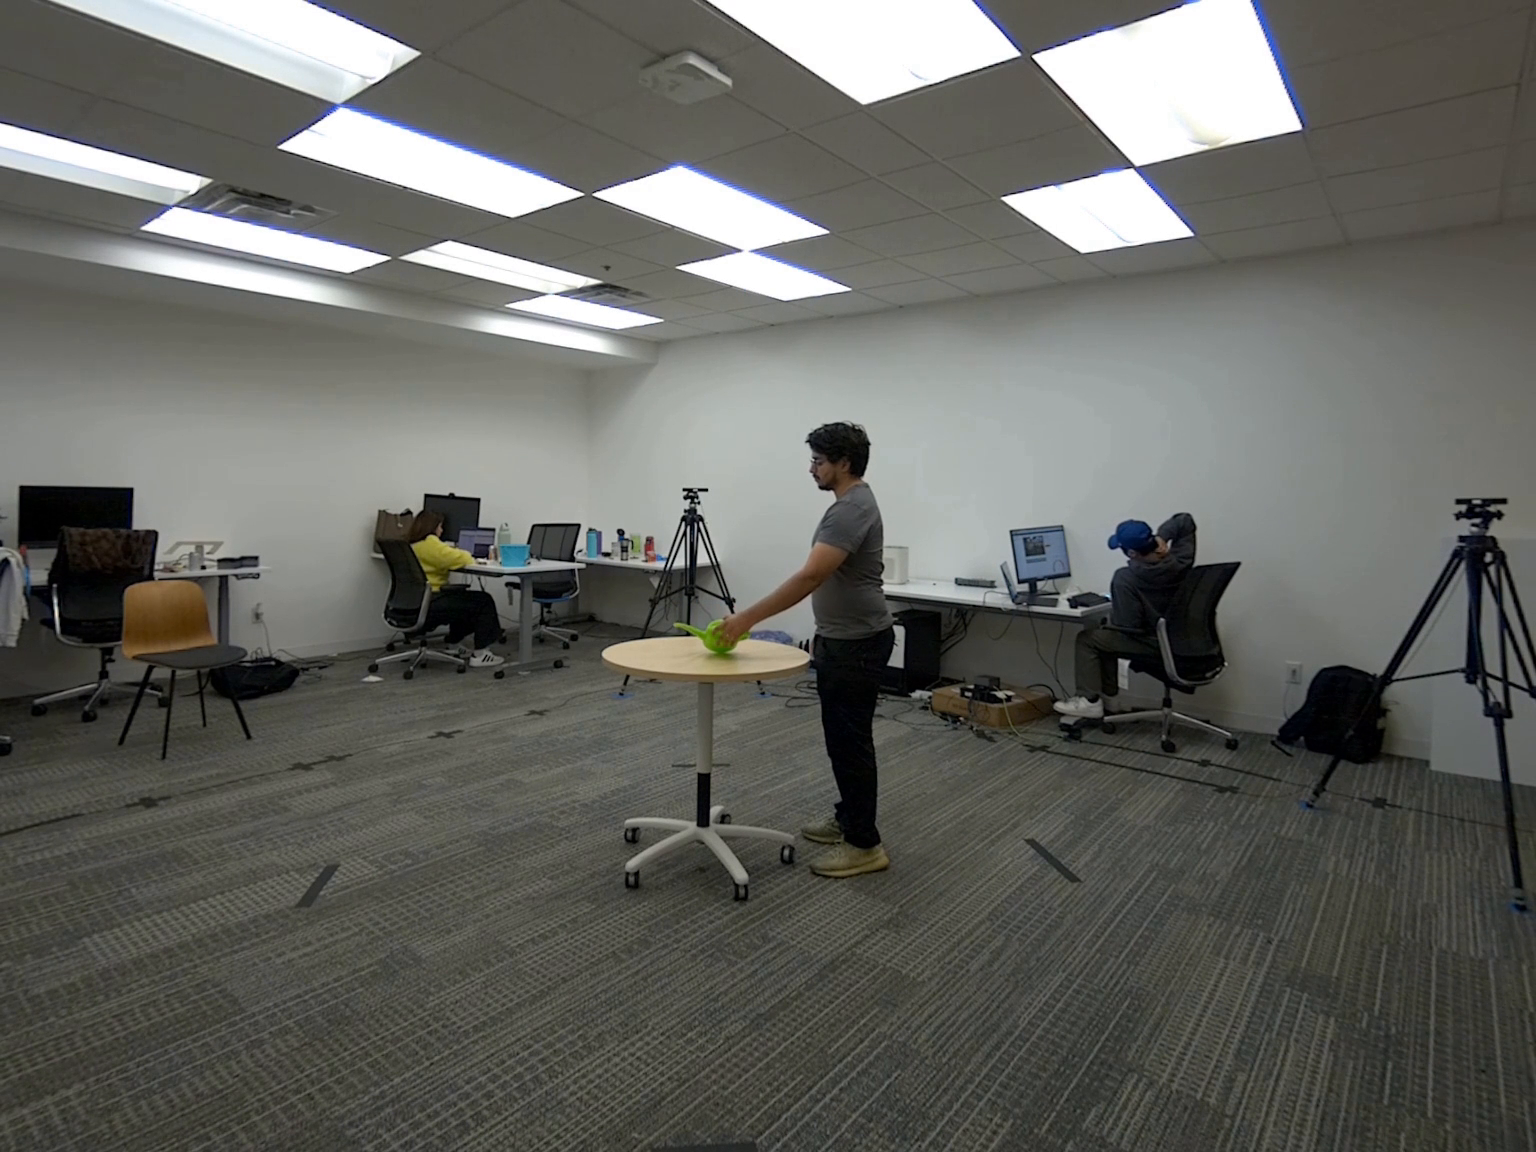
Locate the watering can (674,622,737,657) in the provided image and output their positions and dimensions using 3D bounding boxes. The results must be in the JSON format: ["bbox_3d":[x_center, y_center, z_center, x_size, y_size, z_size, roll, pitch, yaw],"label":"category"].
[{"bbox_3d":[-0.217,0.199,3.107,0.277,0.099,0.175,19,-20,-3],"label":"watering can"}]
